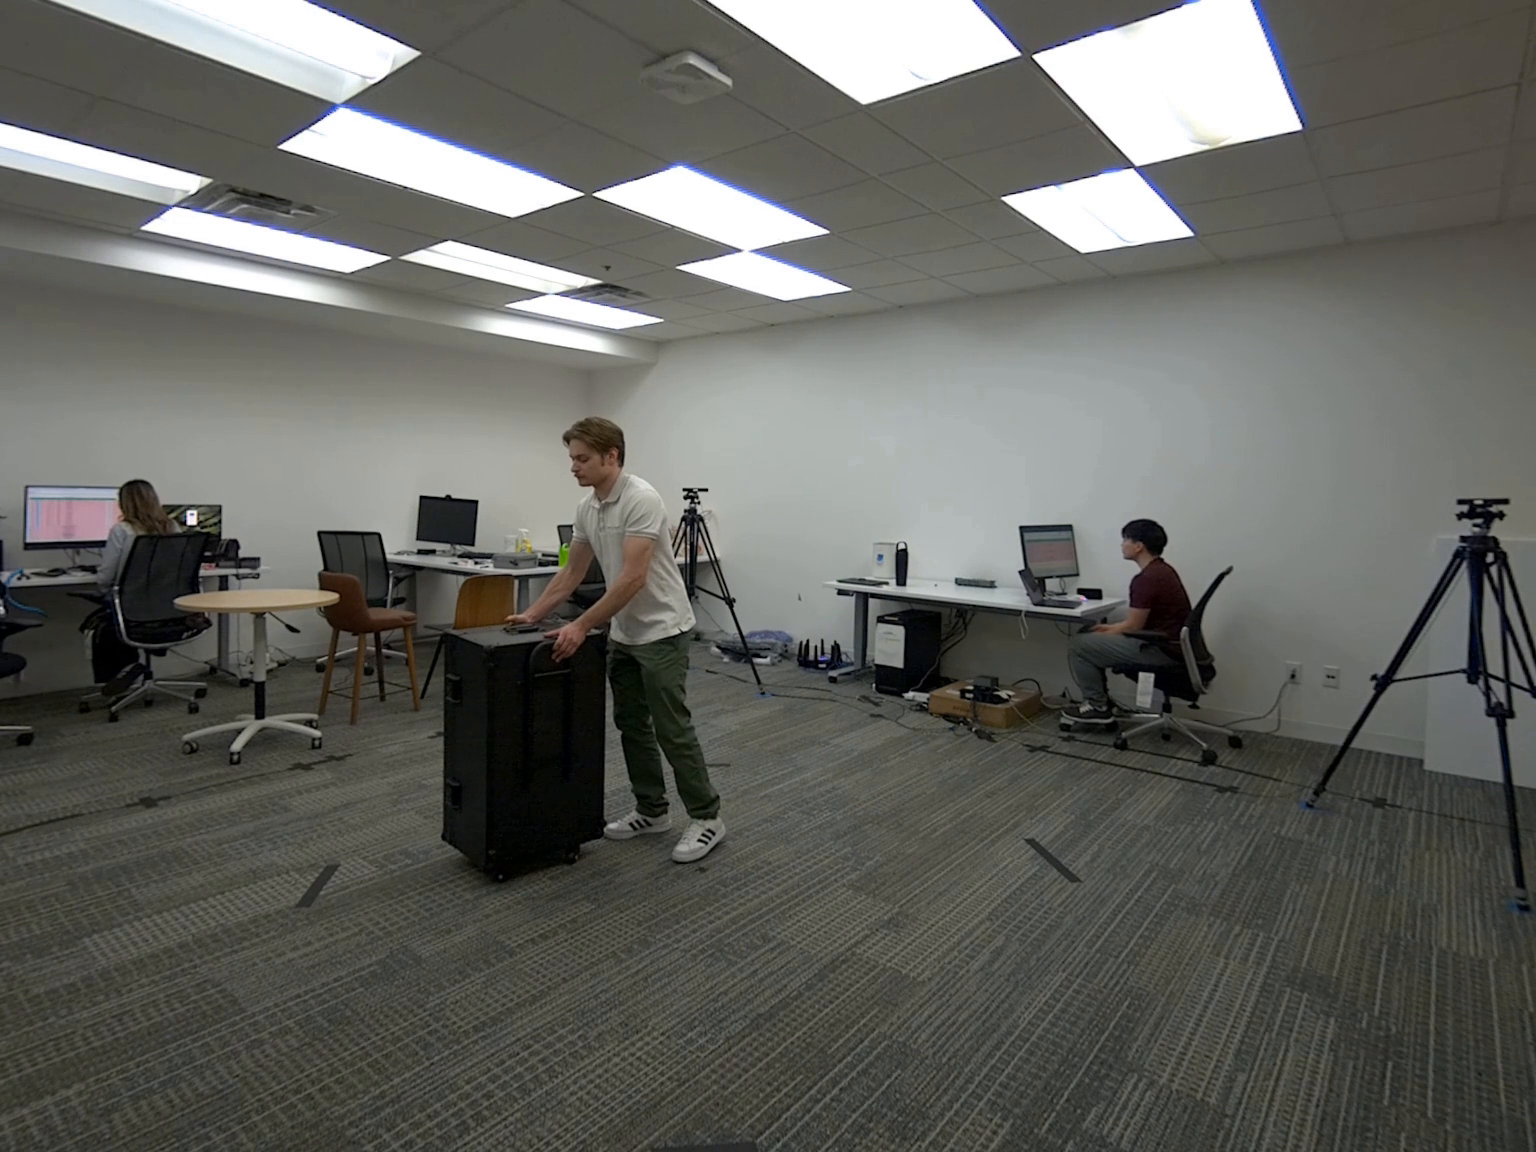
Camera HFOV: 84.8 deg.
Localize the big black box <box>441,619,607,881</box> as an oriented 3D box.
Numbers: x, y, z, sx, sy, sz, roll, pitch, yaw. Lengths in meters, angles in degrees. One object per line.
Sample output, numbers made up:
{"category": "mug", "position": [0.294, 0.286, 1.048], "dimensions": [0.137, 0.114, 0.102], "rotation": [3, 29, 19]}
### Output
{"category": "big black box", "position": [-0.908, 0.635, 3.153], "dimensions": [0.508, 0.865, 0.399], "rotation": [-3, 7, -43]}
